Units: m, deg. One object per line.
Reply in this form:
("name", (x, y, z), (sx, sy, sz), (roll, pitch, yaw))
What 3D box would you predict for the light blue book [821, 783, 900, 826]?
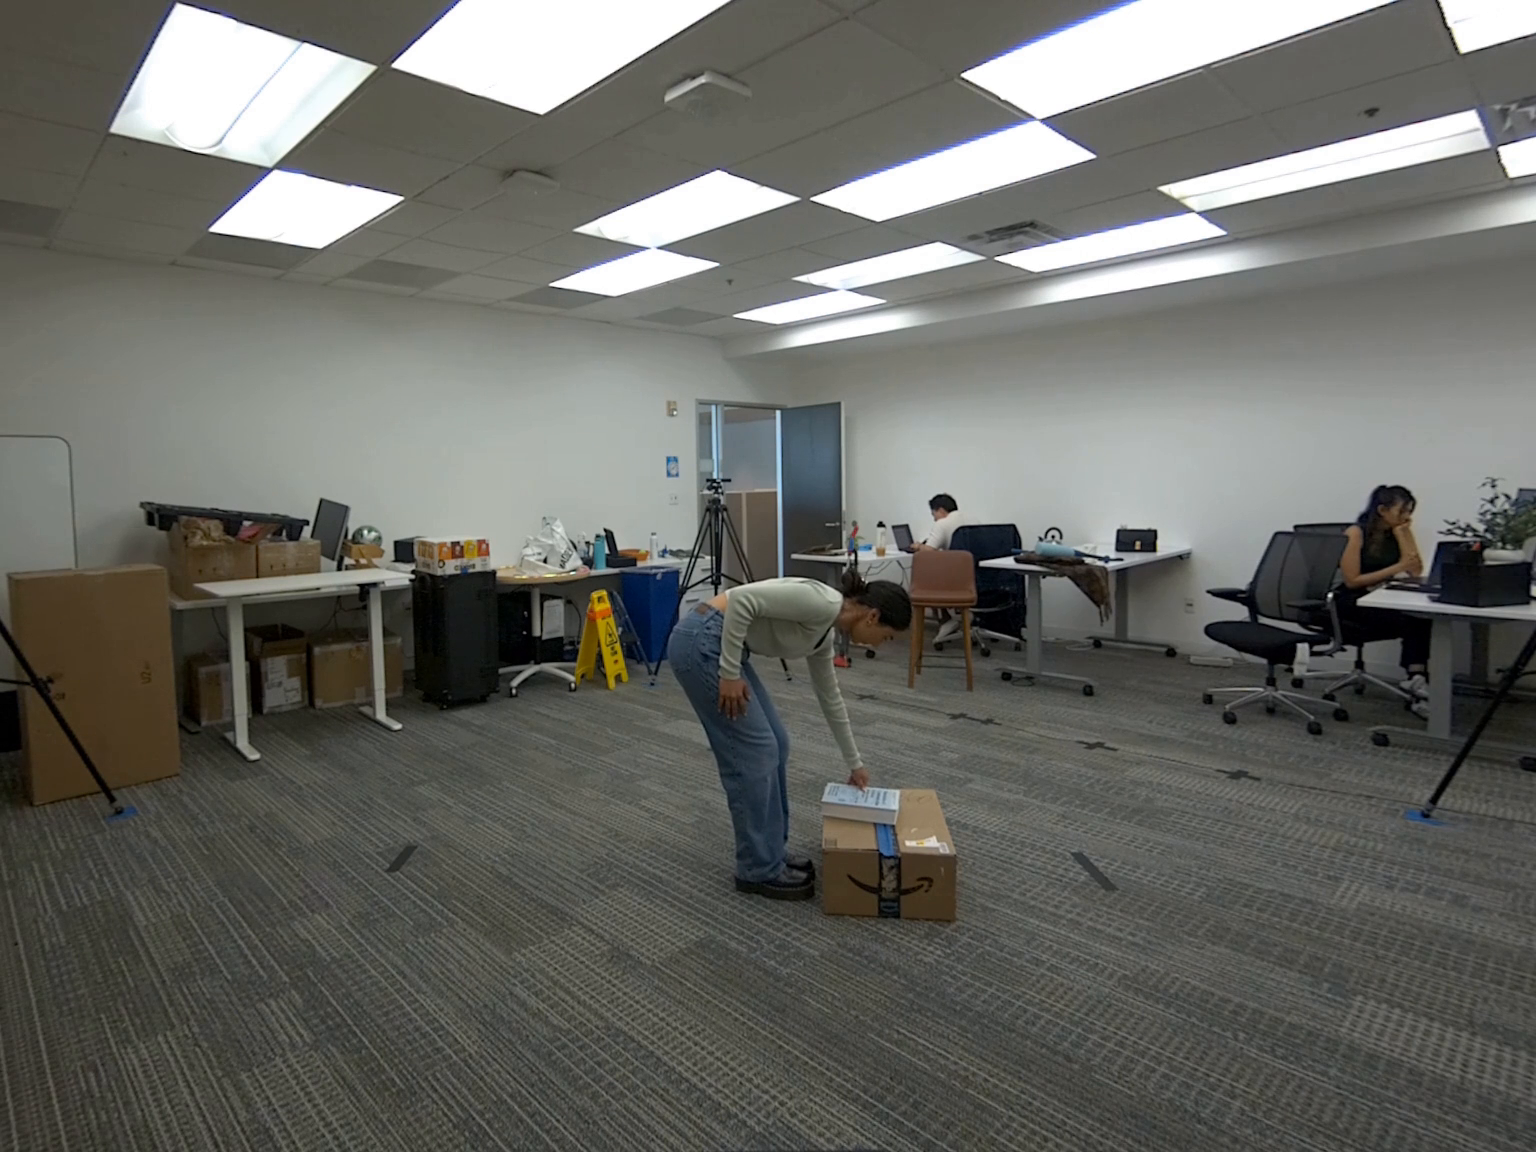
("light blue book", (0.336, 0.806, 3.040), (0.265, 0.059, 0.190), (2, 7, 13))
